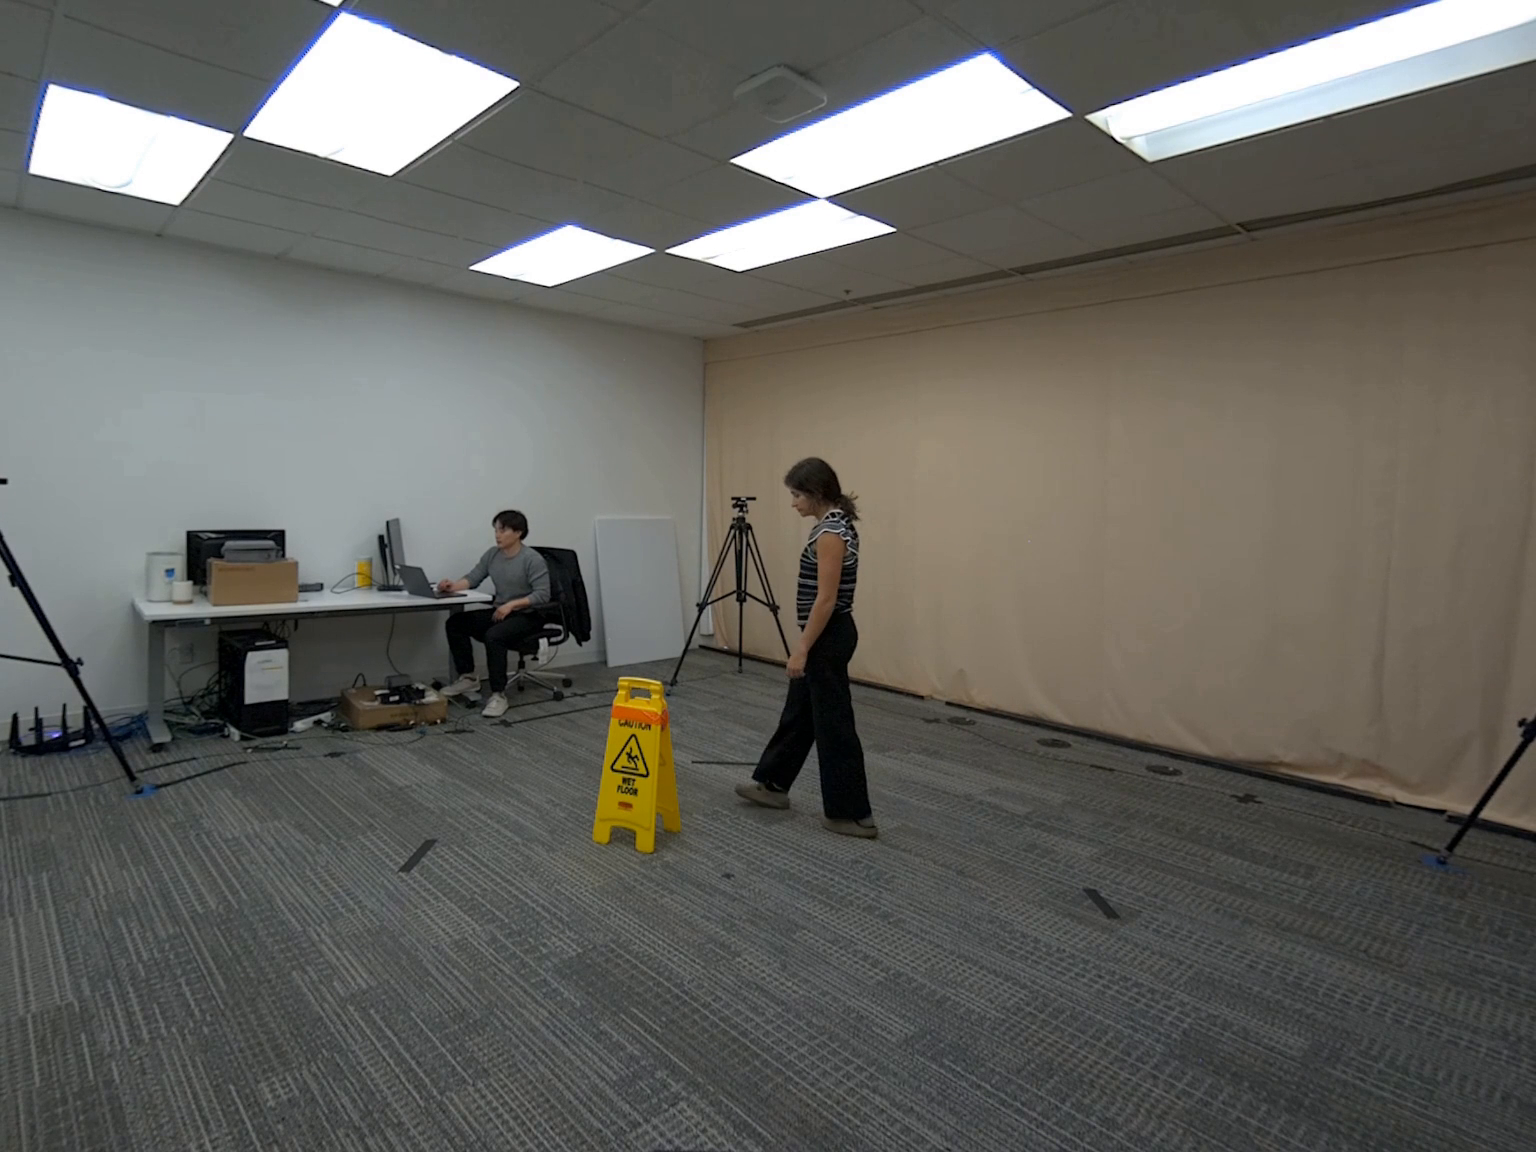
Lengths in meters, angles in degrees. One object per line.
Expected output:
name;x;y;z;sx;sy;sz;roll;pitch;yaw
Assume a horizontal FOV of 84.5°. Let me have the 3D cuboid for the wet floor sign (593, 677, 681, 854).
wet floor sign;-0.536;0.745;3.442;0.287;0.645;0.285;4;3;21
